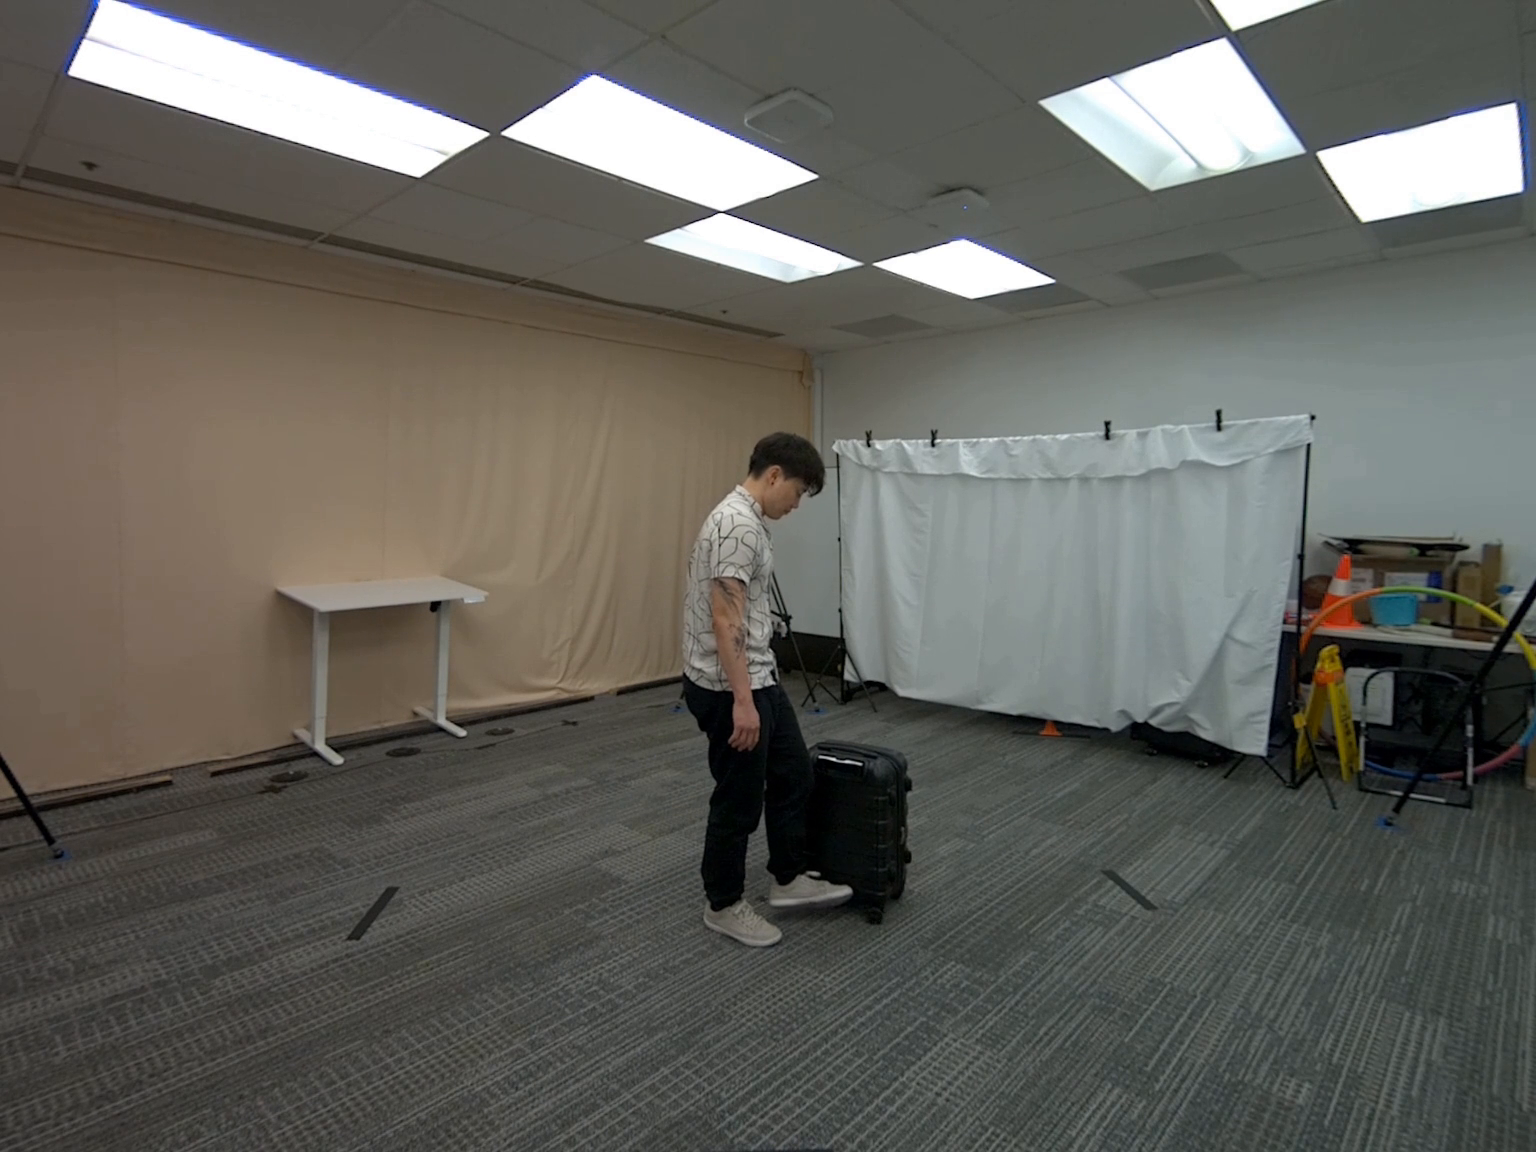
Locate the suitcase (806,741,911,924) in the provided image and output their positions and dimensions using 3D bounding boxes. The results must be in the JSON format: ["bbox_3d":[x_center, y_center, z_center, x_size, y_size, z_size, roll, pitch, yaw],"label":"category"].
[{"bbox_3d":[0.300,0.863,2.964,0.386,0.548,0.242,2,3,29],"label":"suitcase"}]
